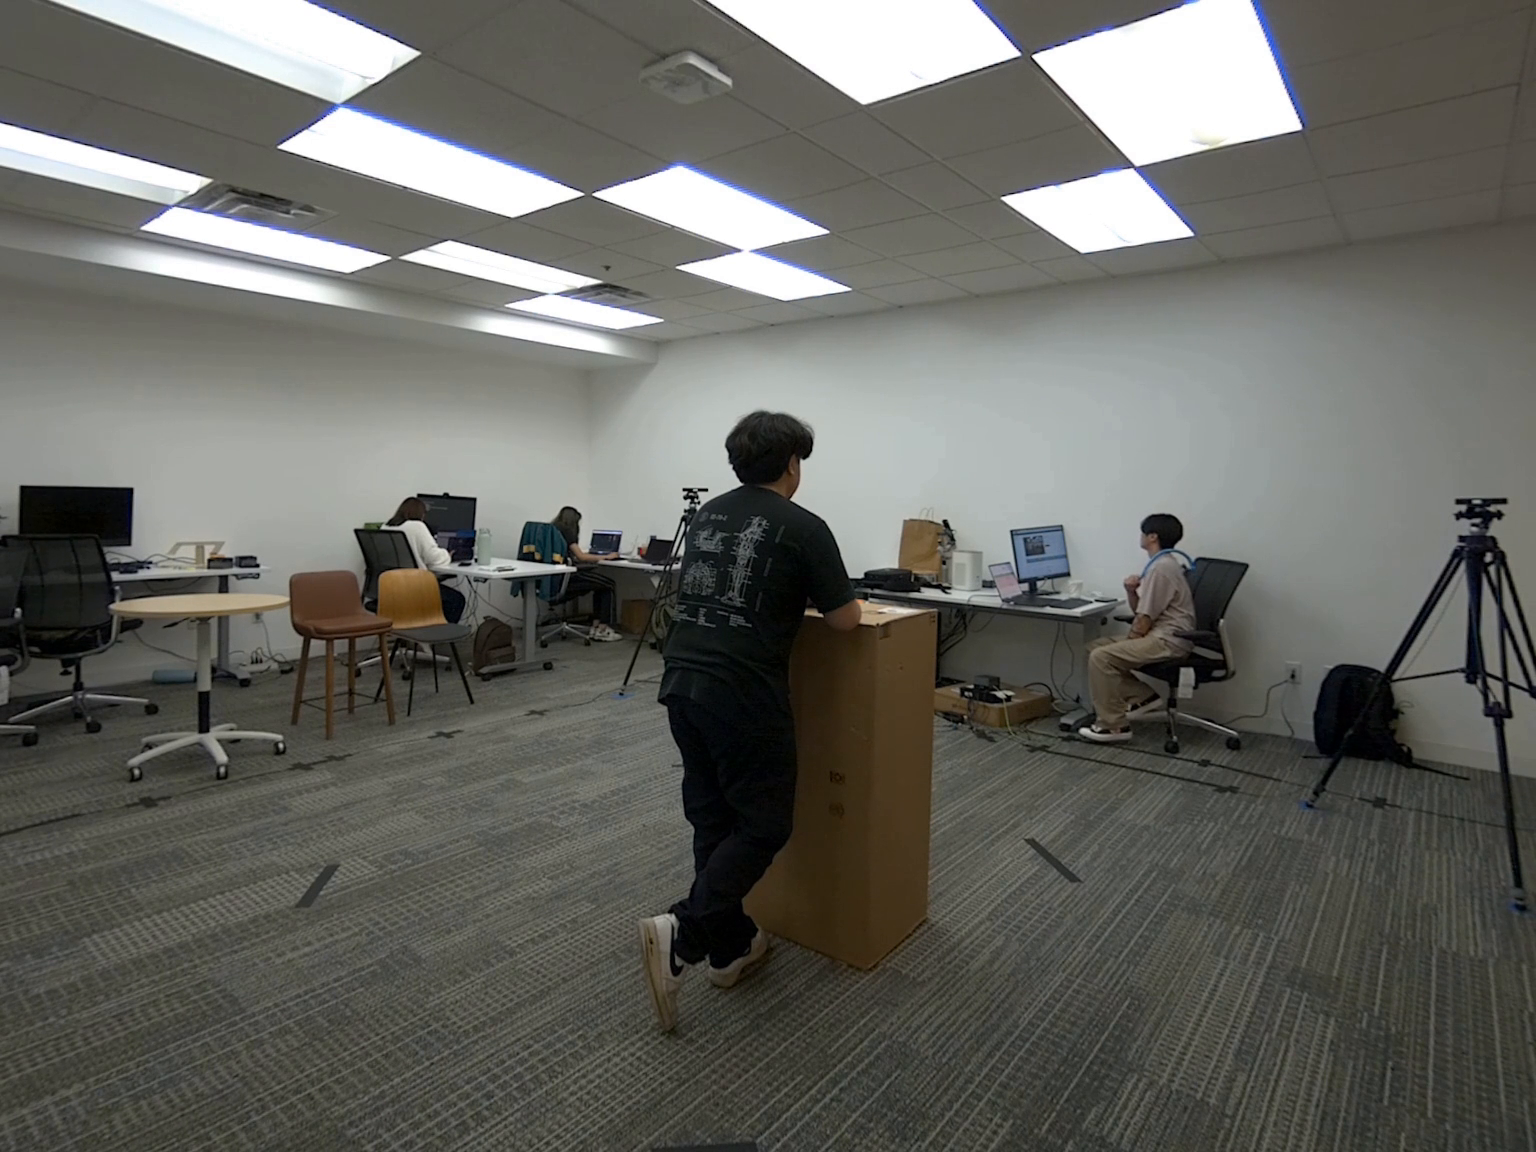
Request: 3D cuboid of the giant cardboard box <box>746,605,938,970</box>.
[{"bbox_3d":[0.179,0.600,2.781,0.603,1.025,0.433,4,3,37],"label":"giant cardboard box"}]
